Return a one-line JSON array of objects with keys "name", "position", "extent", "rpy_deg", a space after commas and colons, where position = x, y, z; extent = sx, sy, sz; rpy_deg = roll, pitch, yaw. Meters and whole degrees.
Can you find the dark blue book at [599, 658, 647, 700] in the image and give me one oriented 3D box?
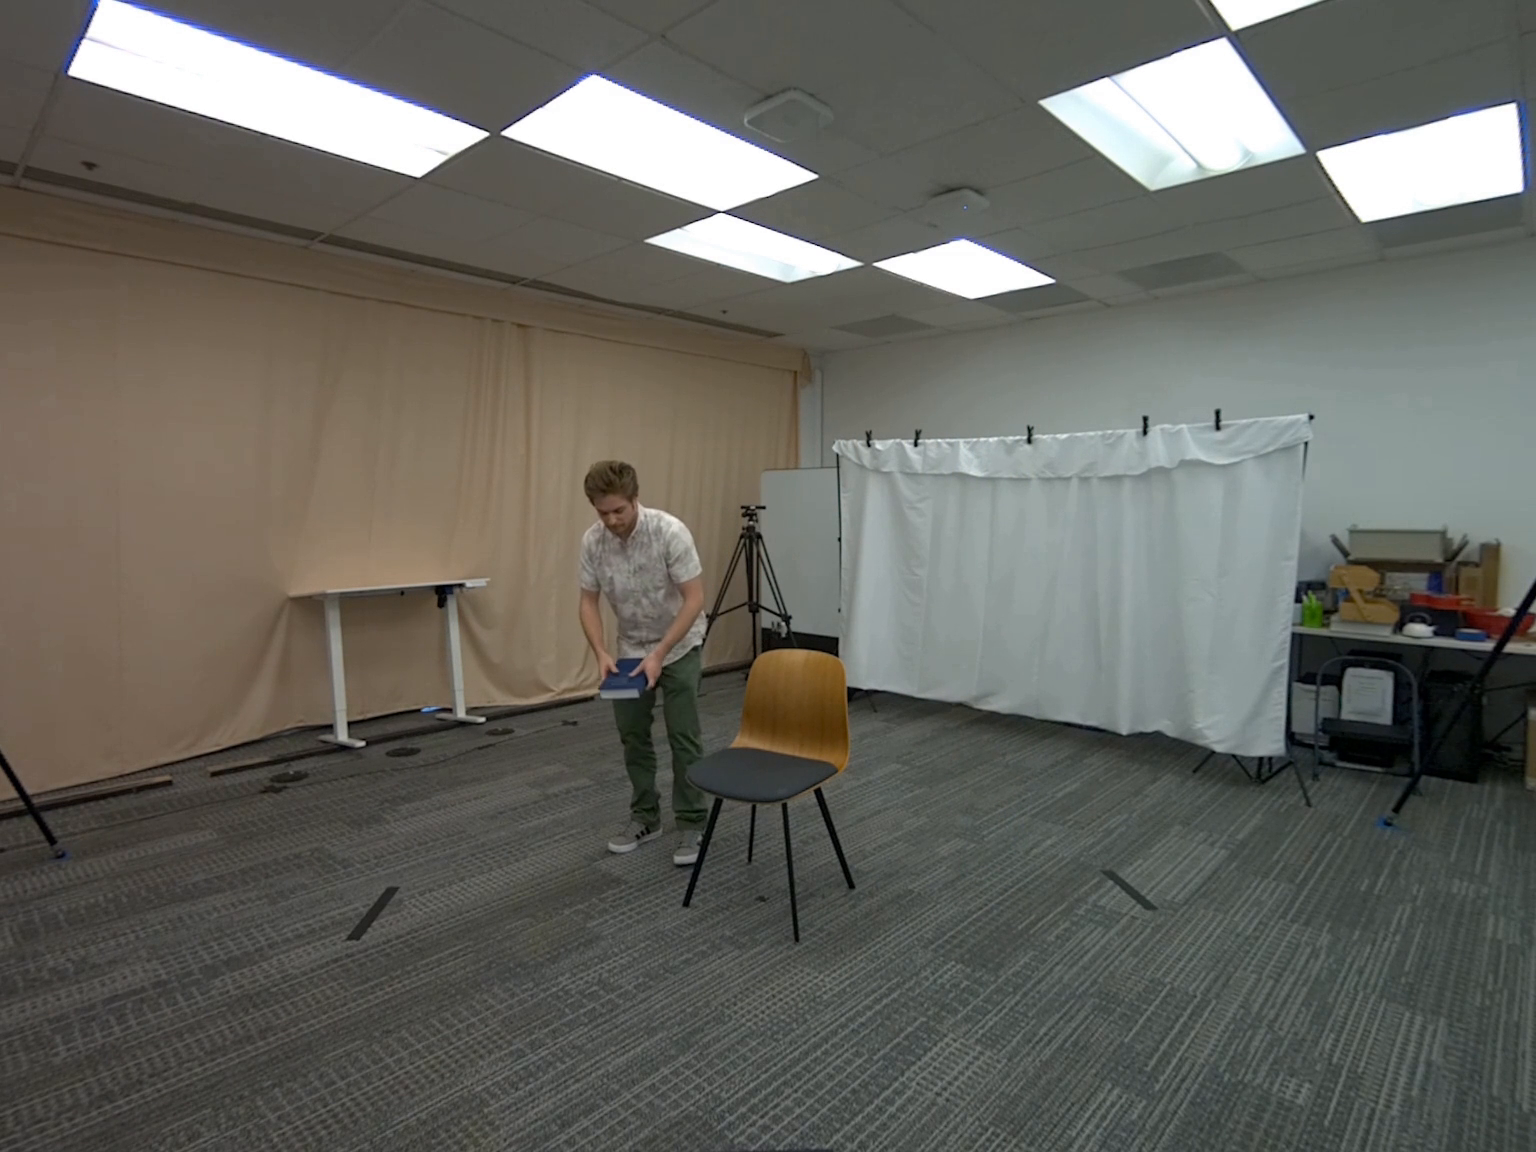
[{"name": "dark blue book", "position": [-0.527, 0.393, 3.220], "extent": [0.166, 0.044, 0.245], "rpy_deg": [-6, 21, 13]}]
